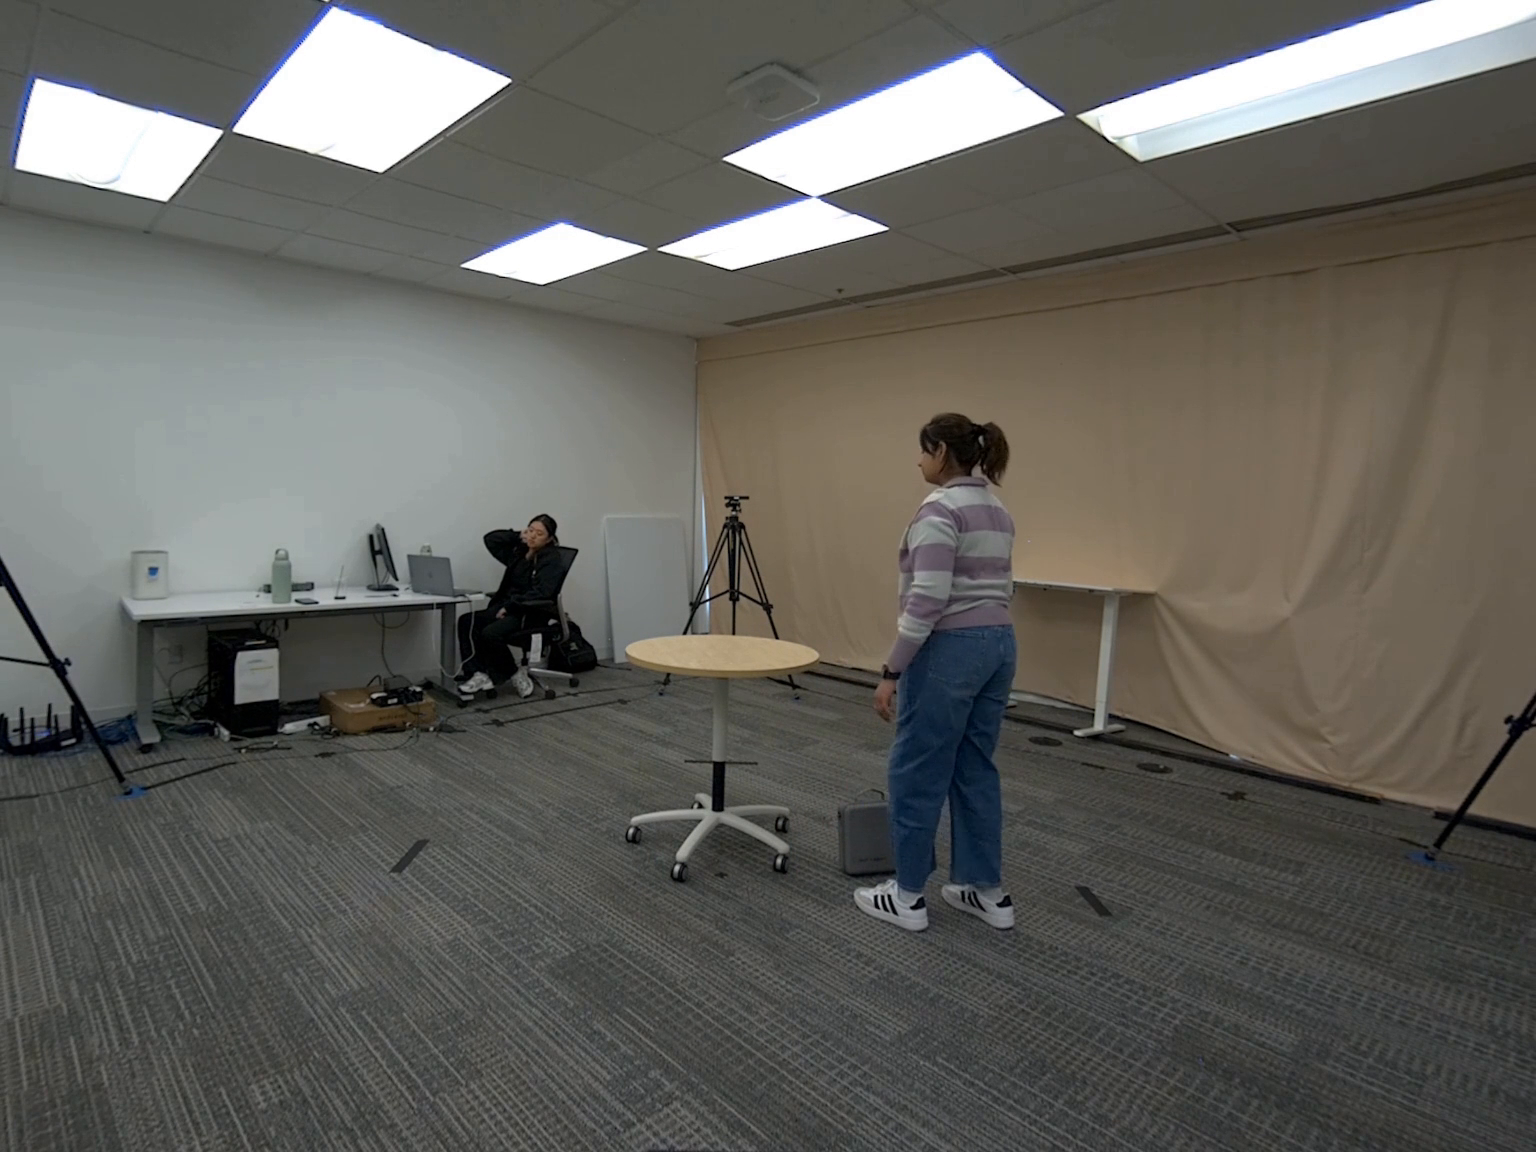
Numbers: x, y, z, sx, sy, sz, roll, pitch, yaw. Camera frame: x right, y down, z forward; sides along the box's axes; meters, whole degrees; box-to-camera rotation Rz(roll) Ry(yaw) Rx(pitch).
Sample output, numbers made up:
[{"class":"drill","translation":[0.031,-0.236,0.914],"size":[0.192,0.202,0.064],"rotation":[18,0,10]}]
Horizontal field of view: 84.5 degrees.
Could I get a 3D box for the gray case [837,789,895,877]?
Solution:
[{"class":"gray case","translation":[0.385,0.974,3.177],"size":[0.254,0.262,0.105],"rotation":[0,-5,-15]}]
